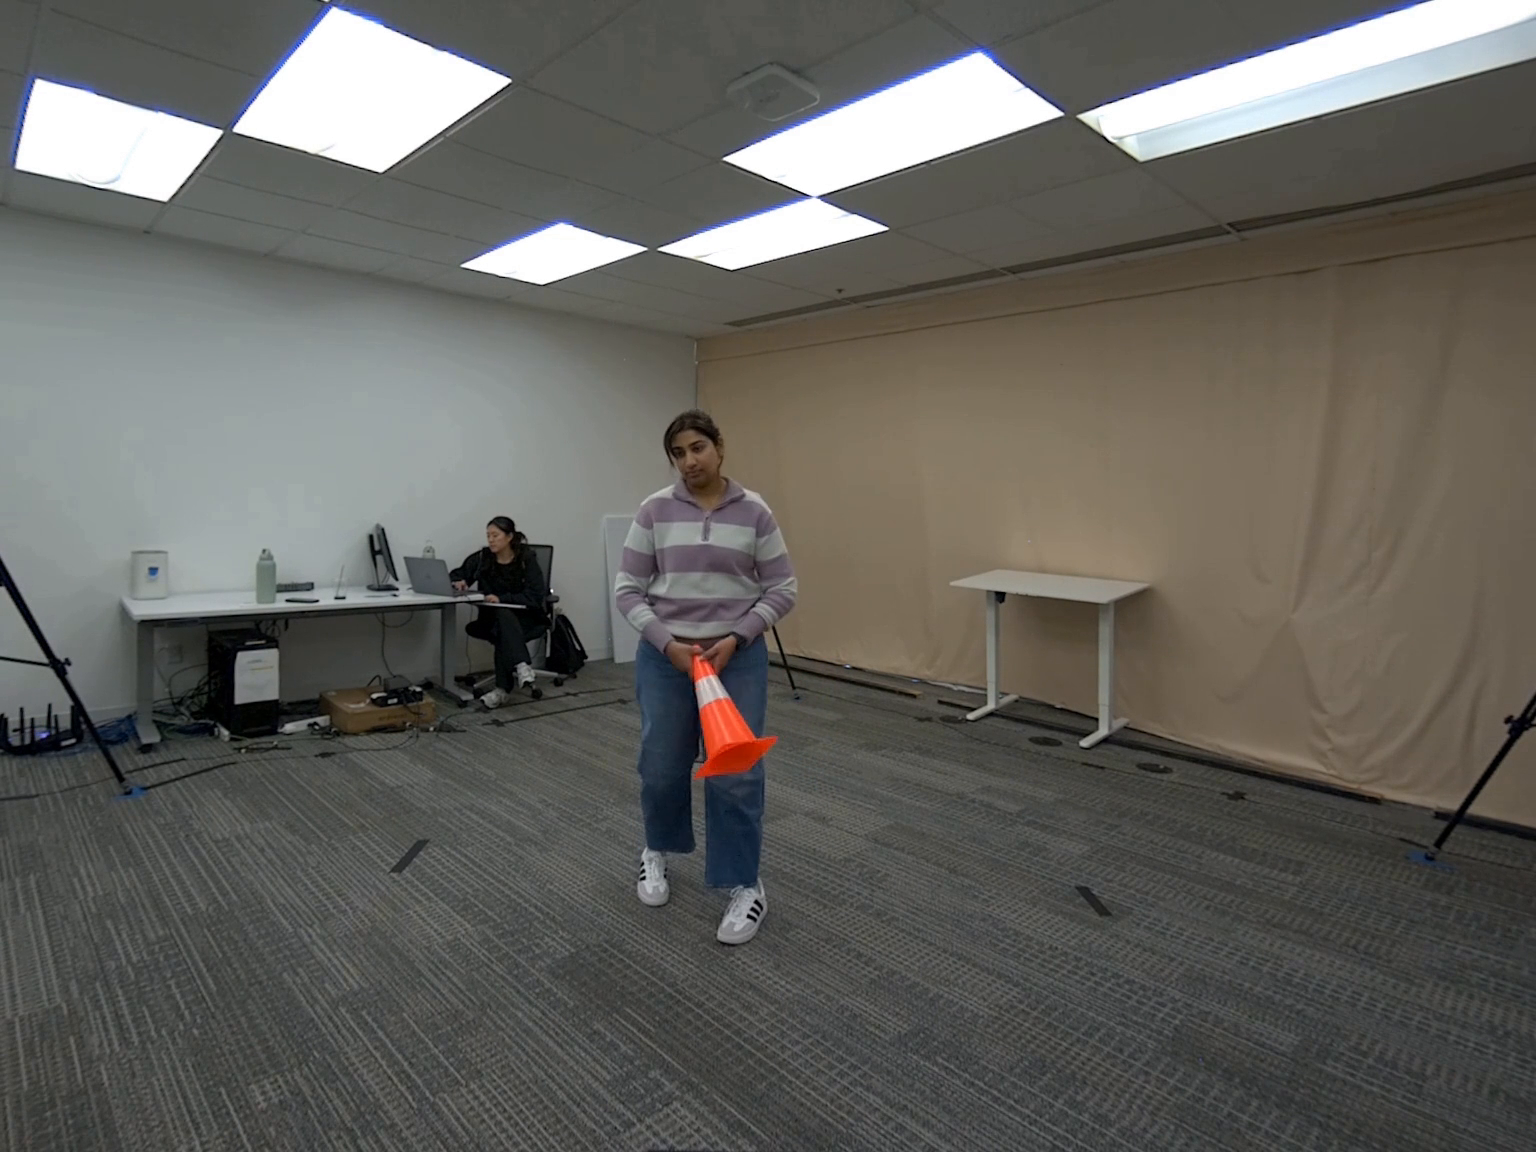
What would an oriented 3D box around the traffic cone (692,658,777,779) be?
[{"bbox_3d":[-0.168,0.373,2.518,0.200,0.394,0.202,5,-42,-29],"label":"traffic cone"}]
